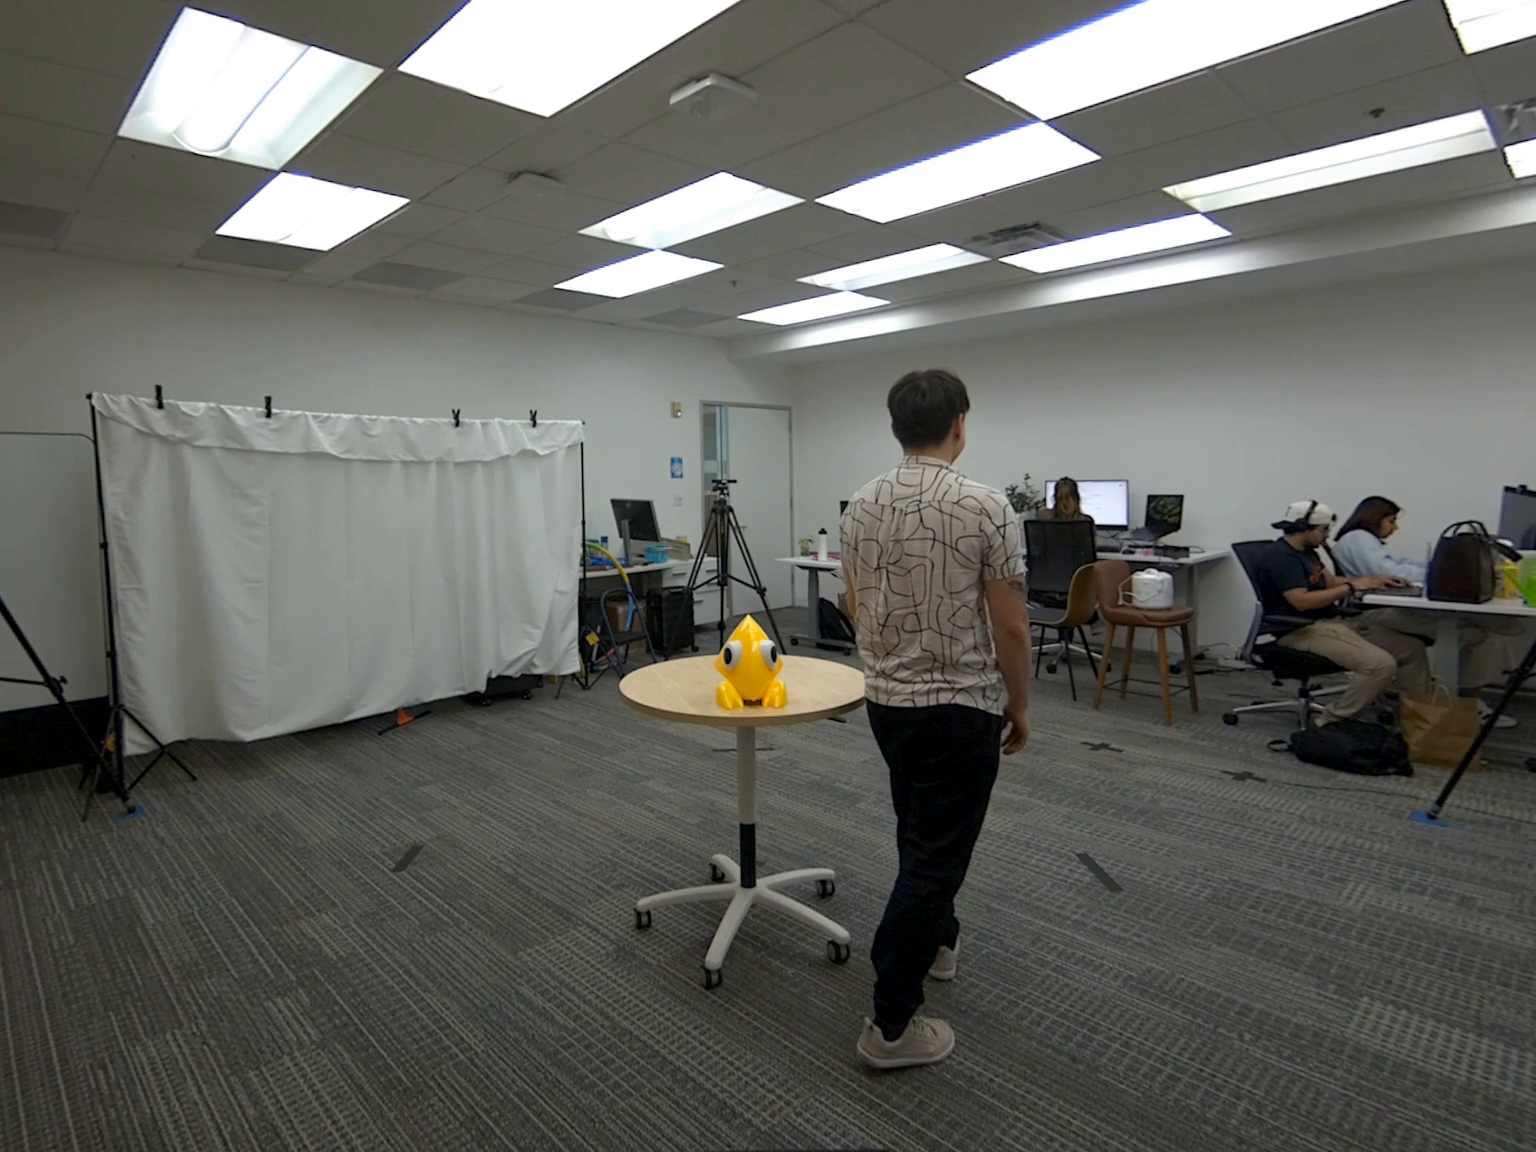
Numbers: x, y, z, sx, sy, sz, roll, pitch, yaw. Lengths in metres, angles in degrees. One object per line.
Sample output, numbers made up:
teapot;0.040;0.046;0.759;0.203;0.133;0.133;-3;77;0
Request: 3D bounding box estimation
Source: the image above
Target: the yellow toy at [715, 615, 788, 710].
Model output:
yellow toy;-0.044;0.234;2.380;0.204;0.230;0.194;-1;5;-4
